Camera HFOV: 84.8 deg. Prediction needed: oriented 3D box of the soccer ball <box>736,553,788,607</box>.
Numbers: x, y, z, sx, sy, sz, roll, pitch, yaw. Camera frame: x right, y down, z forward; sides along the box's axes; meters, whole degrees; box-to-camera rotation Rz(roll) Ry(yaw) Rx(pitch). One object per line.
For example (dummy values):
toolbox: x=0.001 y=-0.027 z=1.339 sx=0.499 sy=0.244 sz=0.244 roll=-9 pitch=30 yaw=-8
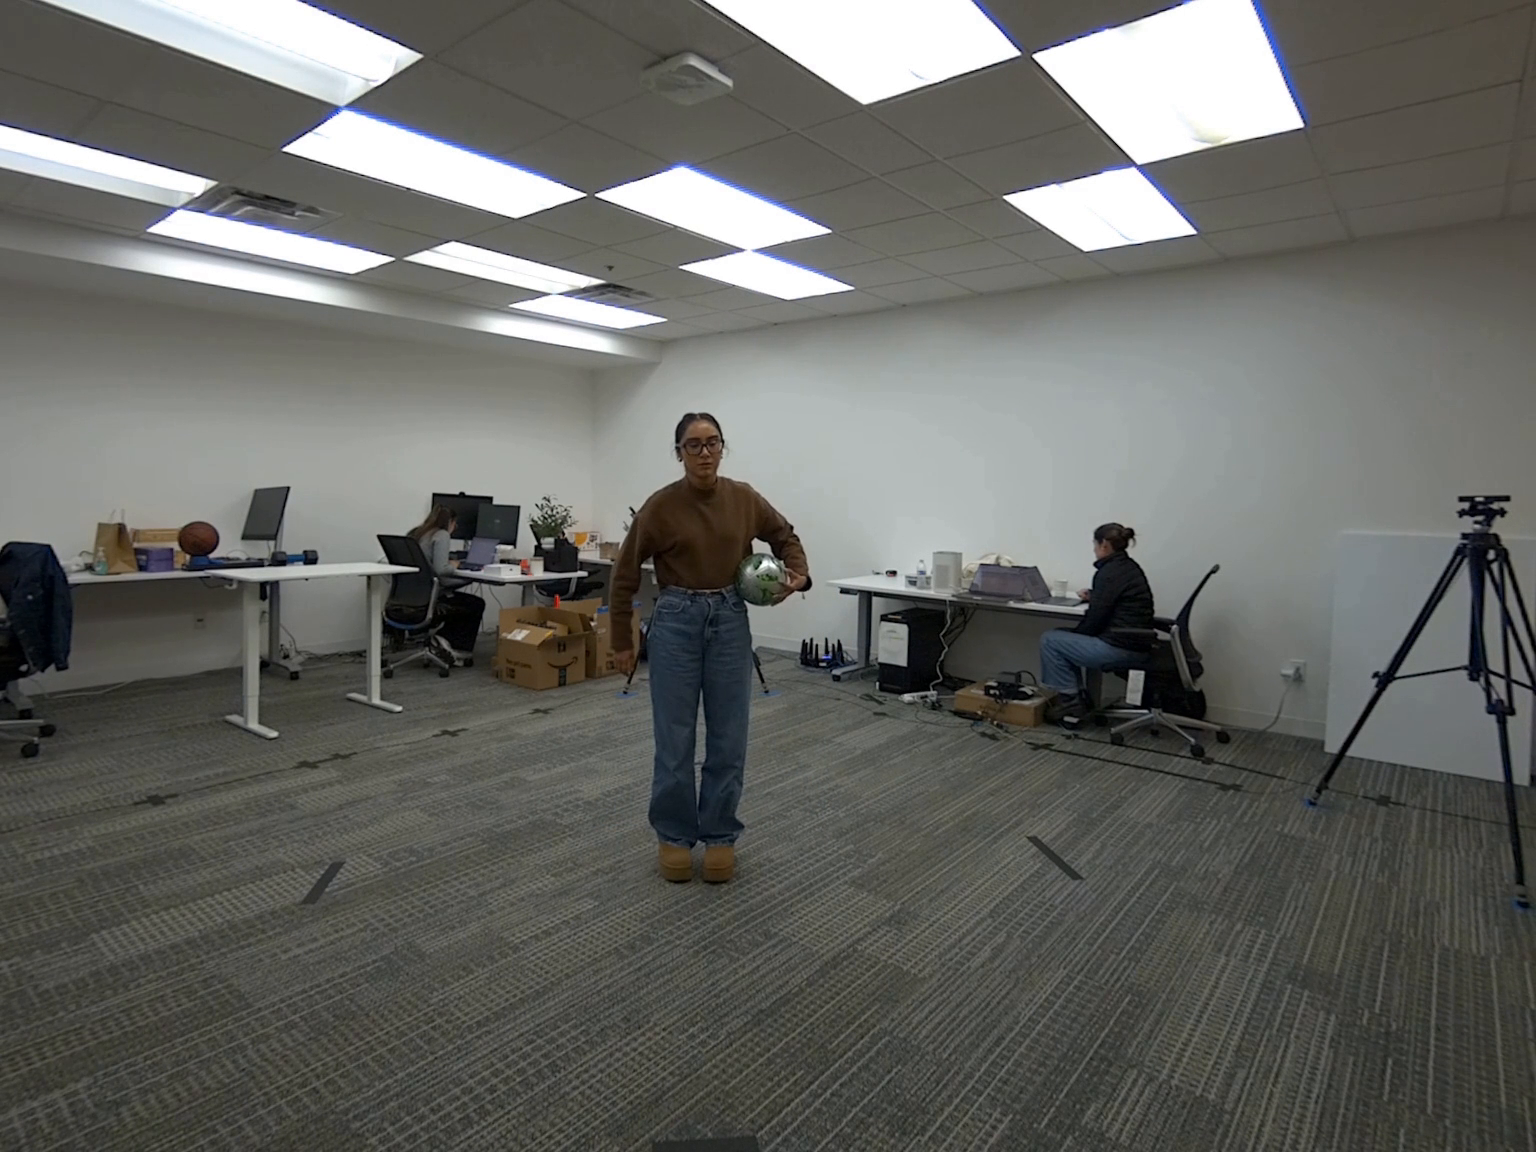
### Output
soccer ball: x=-0.030 y=0.011 z=3.024 sx=0.187 sy=0.187 sz=0.188 roll=1 pitch=4 yaw=-2
